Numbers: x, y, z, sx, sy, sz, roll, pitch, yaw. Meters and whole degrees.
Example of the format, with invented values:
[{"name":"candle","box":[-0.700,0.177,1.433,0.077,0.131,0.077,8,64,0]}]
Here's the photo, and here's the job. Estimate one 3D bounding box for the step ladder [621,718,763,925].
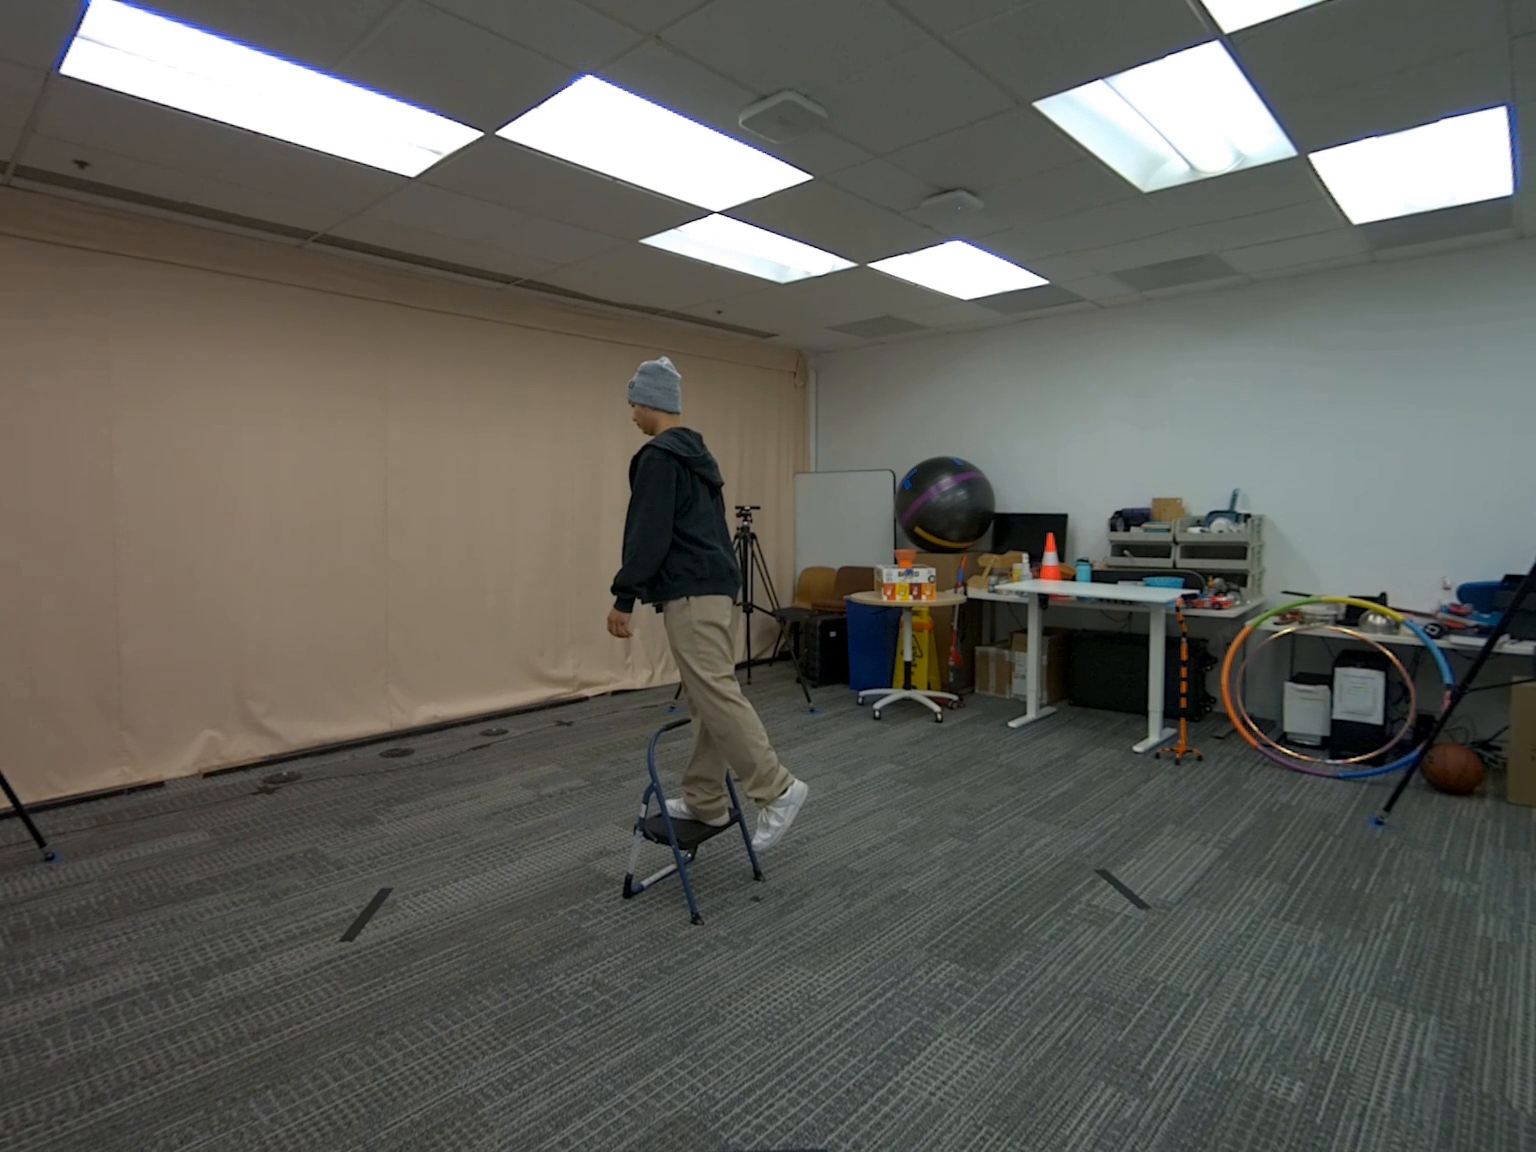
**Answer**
[{"name":"step ladder","box":[-0.270,0.838,3.053,0.360,0.605,0.419,1,4,32]}]
